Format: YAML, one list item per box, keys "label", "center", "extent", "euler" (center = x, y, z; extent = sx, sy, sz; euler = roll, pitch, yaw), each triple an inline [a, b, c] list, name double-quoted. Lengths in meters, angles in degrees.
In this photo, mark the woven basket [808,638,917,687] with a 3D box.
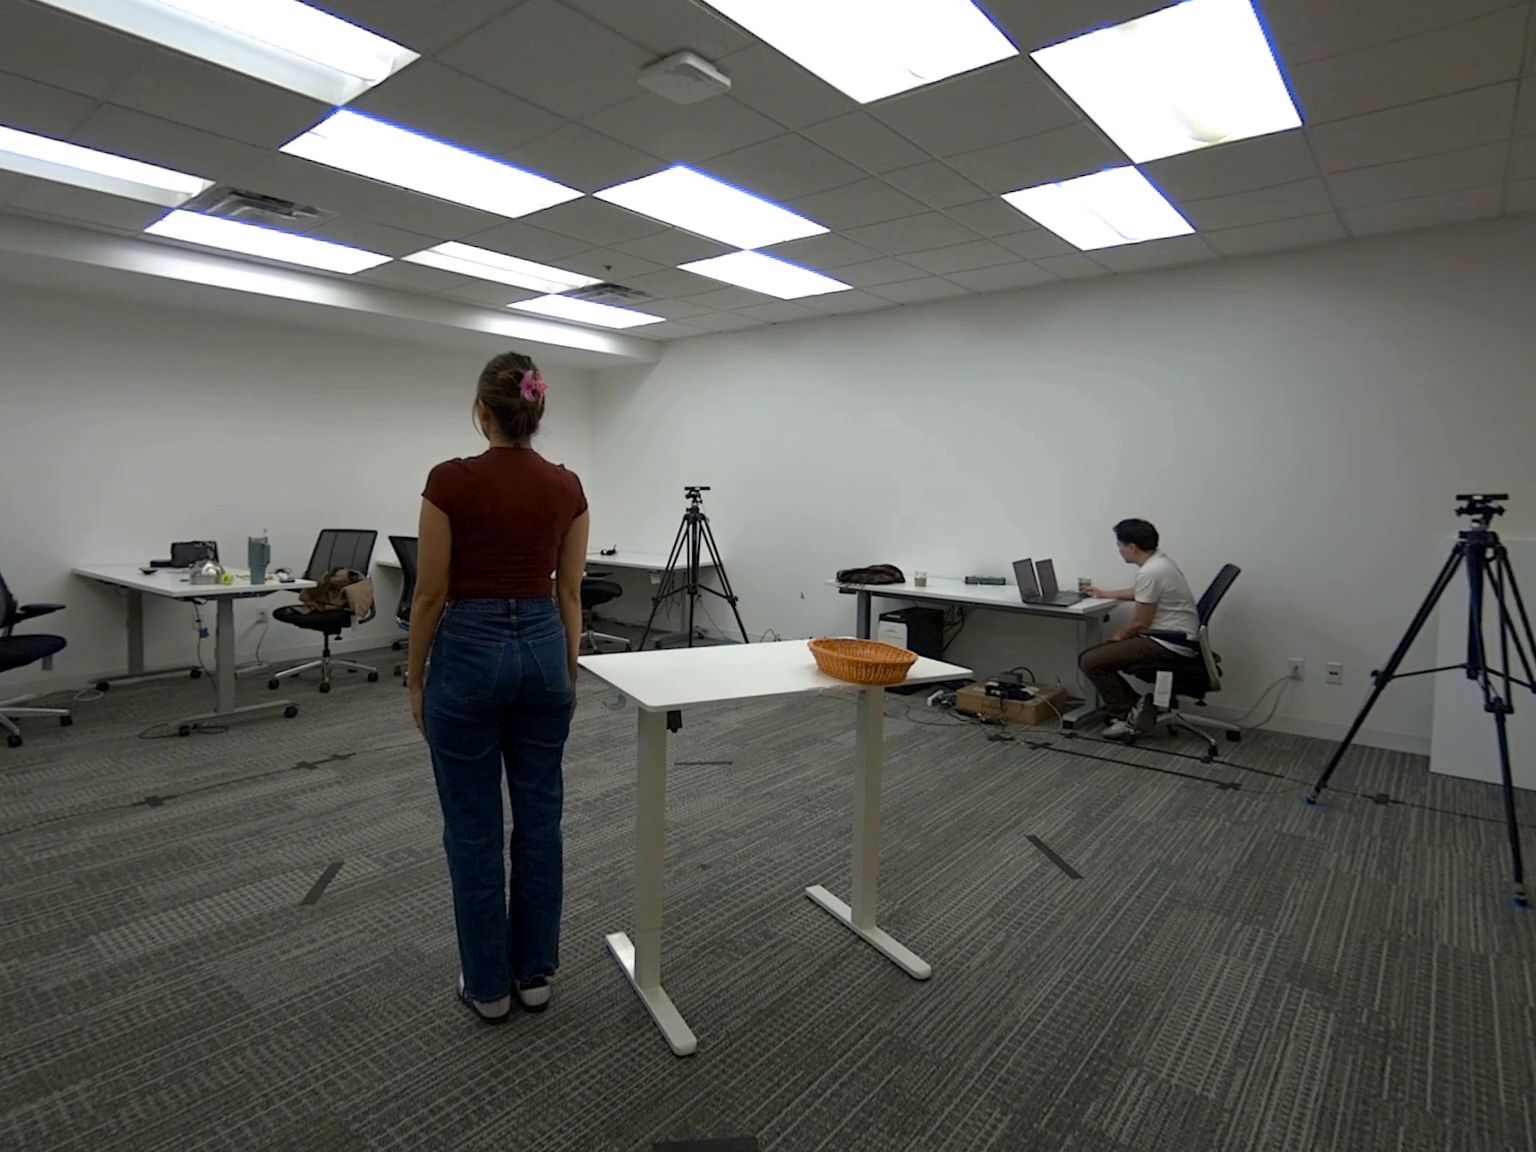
- label: "woven basket"
  center: [0.268, 0.240, 2.351]
  extent: [0.246, 0.073, 0.360]
  euler: [-1, 6, -27]
